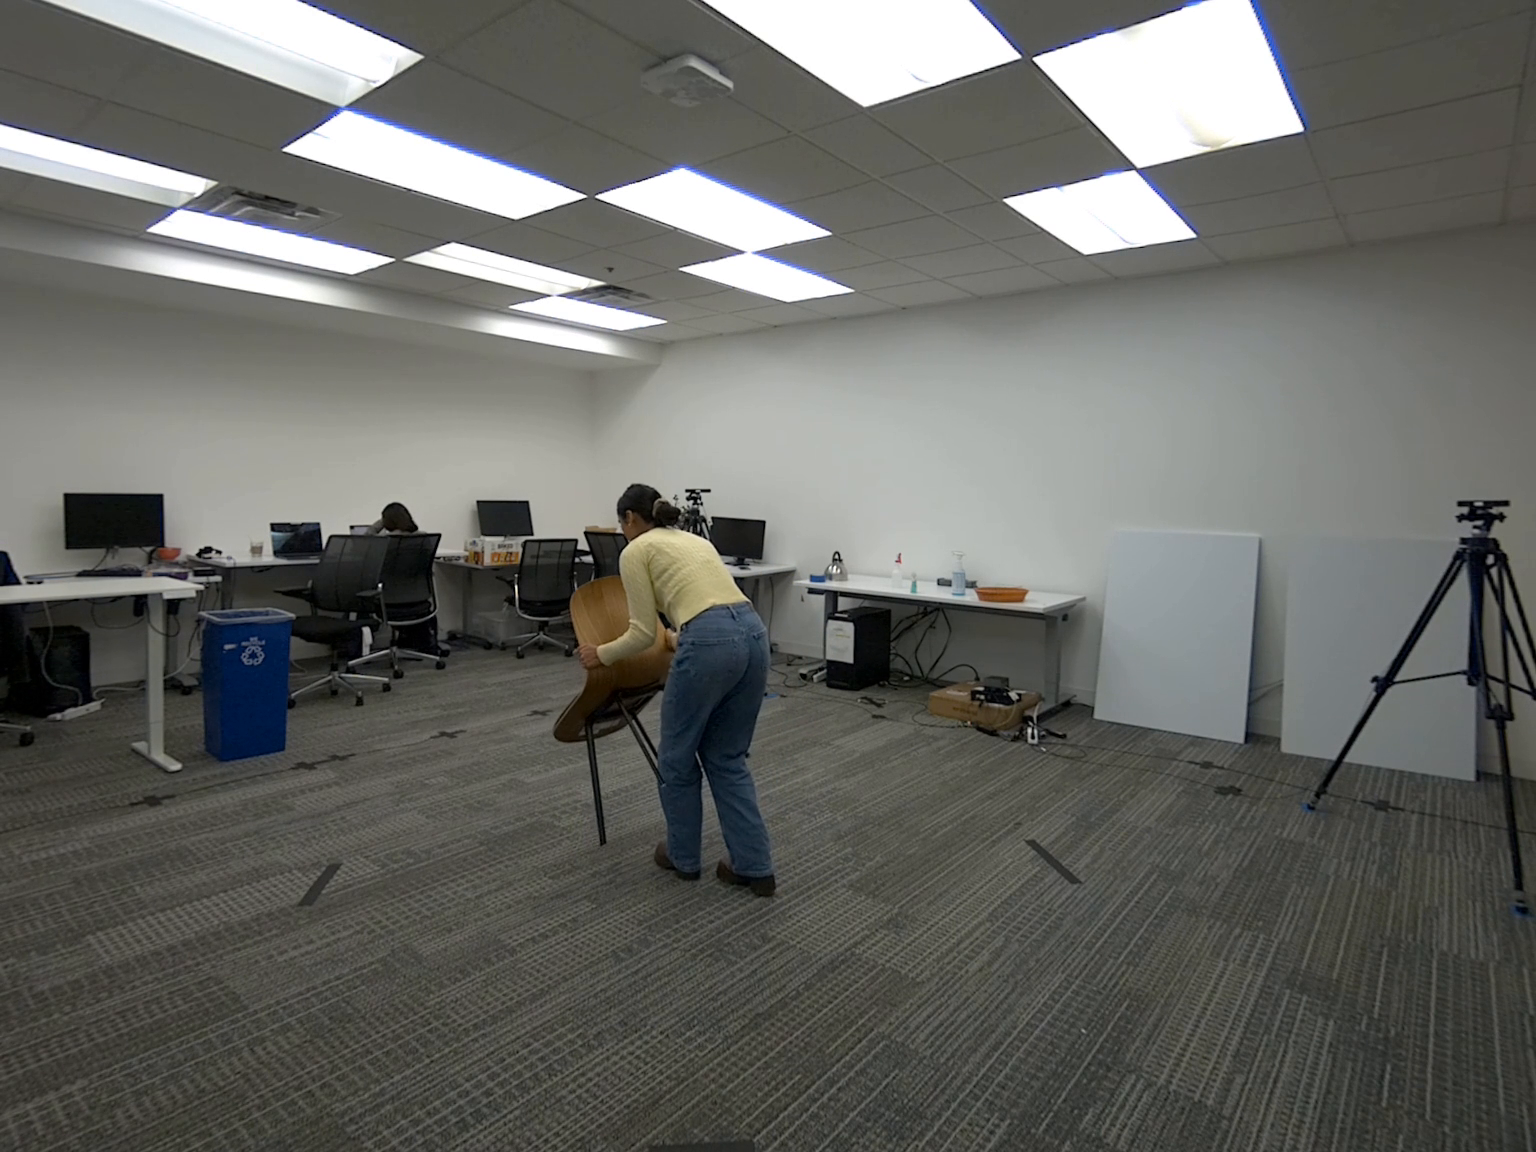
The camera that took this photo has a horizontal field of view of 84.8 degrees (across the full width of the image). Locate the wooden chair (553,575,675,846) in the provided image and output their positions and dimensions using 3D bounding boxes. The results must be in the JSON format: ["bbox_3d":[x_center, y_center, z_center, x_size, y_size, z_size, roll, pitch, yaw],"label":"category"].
[{"bbox_3d":[-0.576,0.498,3.329,0.464,0.903,0.524,-5,-33,-48],"label":"wooden chair"}]
